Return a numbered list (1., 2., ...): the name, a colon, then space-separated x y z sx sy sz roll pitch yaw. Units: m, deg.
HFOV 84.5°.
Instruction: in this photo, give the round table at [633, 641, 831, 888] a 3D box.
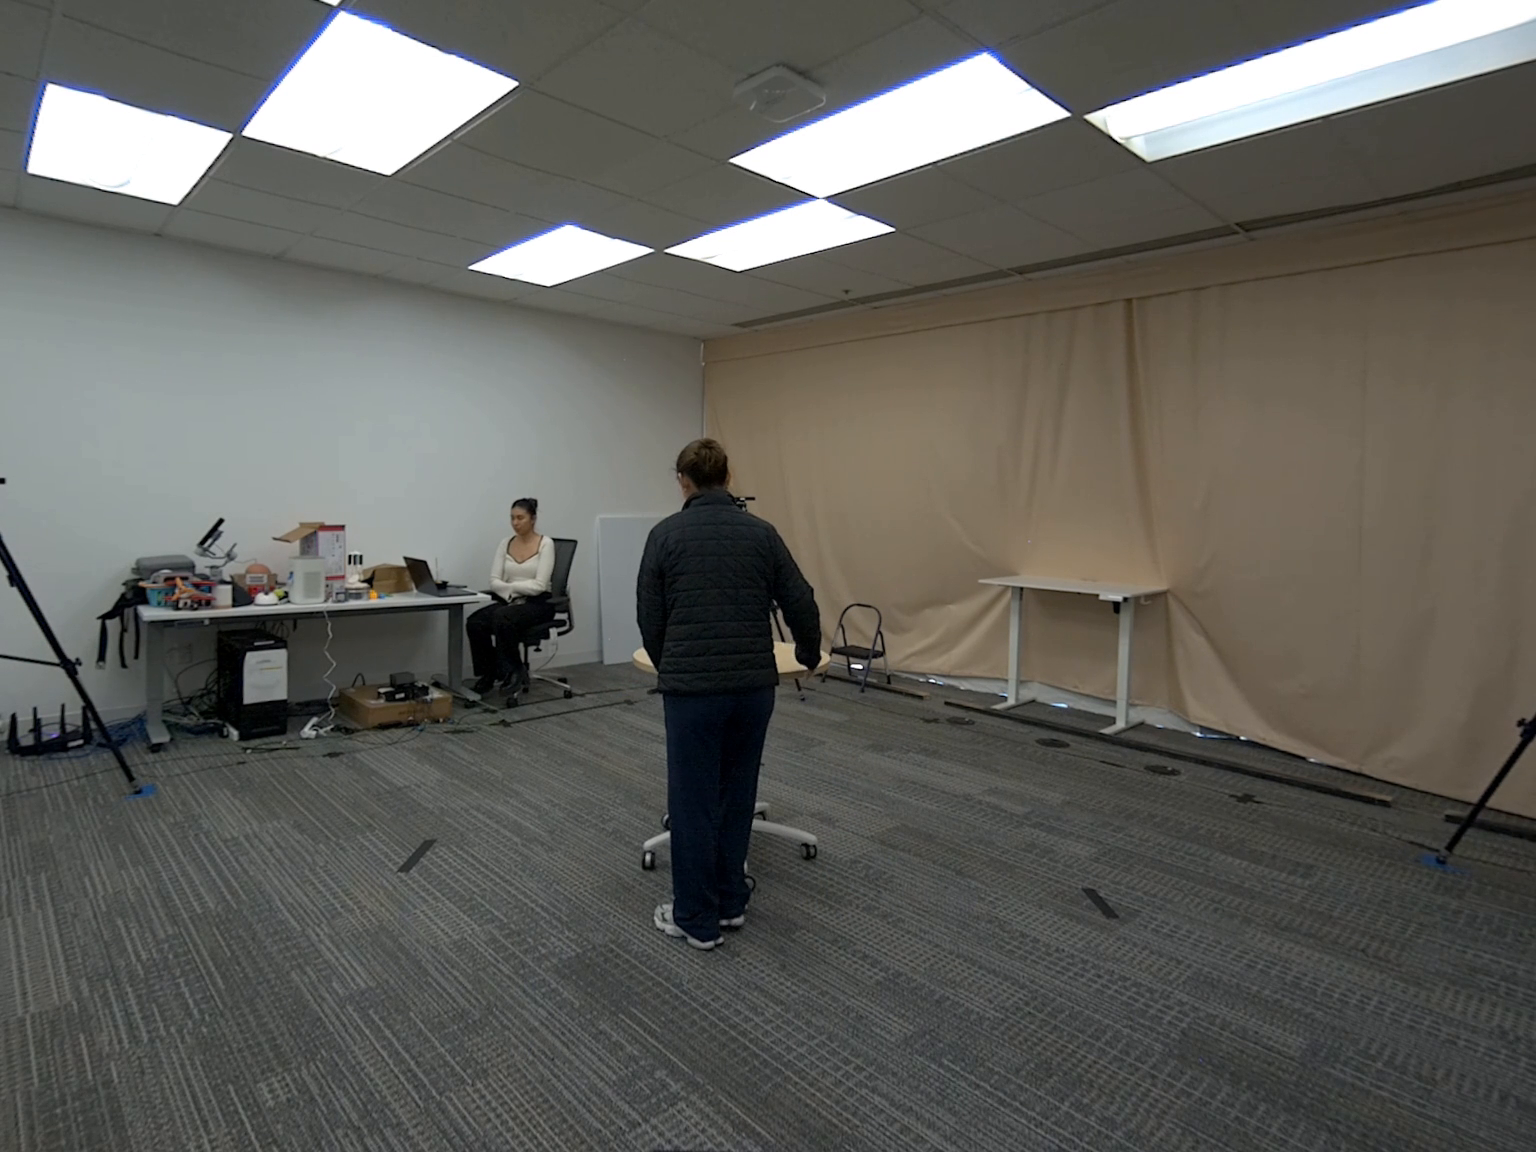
1. round table: -0.164 0.698 3.301 0.784 0.784 0.788 1 4 -1
